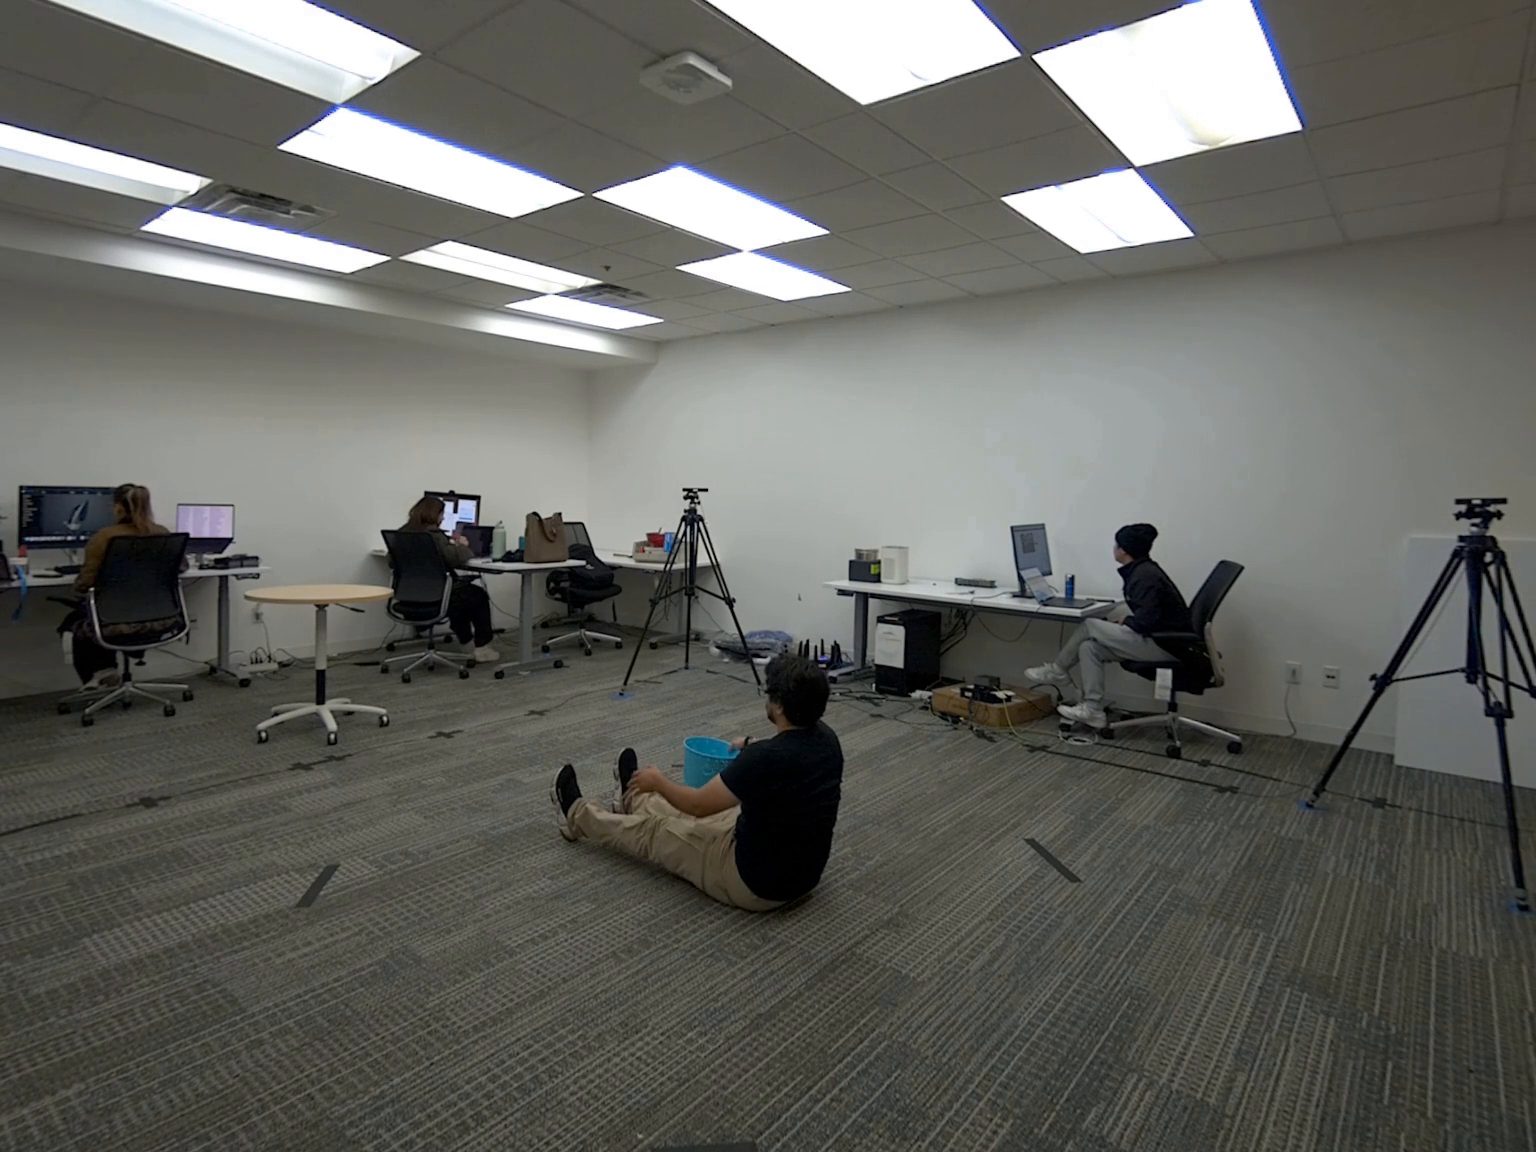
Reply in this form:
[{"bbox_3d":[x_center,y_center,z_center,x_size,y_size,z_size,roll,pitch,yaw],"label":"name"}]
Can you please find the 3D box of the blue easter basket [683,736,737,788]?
[{"bbox_3d":[-0.225,0.752,3.374,0.243,0.155,0.245,9,7,-3],"label":"blue easter basket"}]
